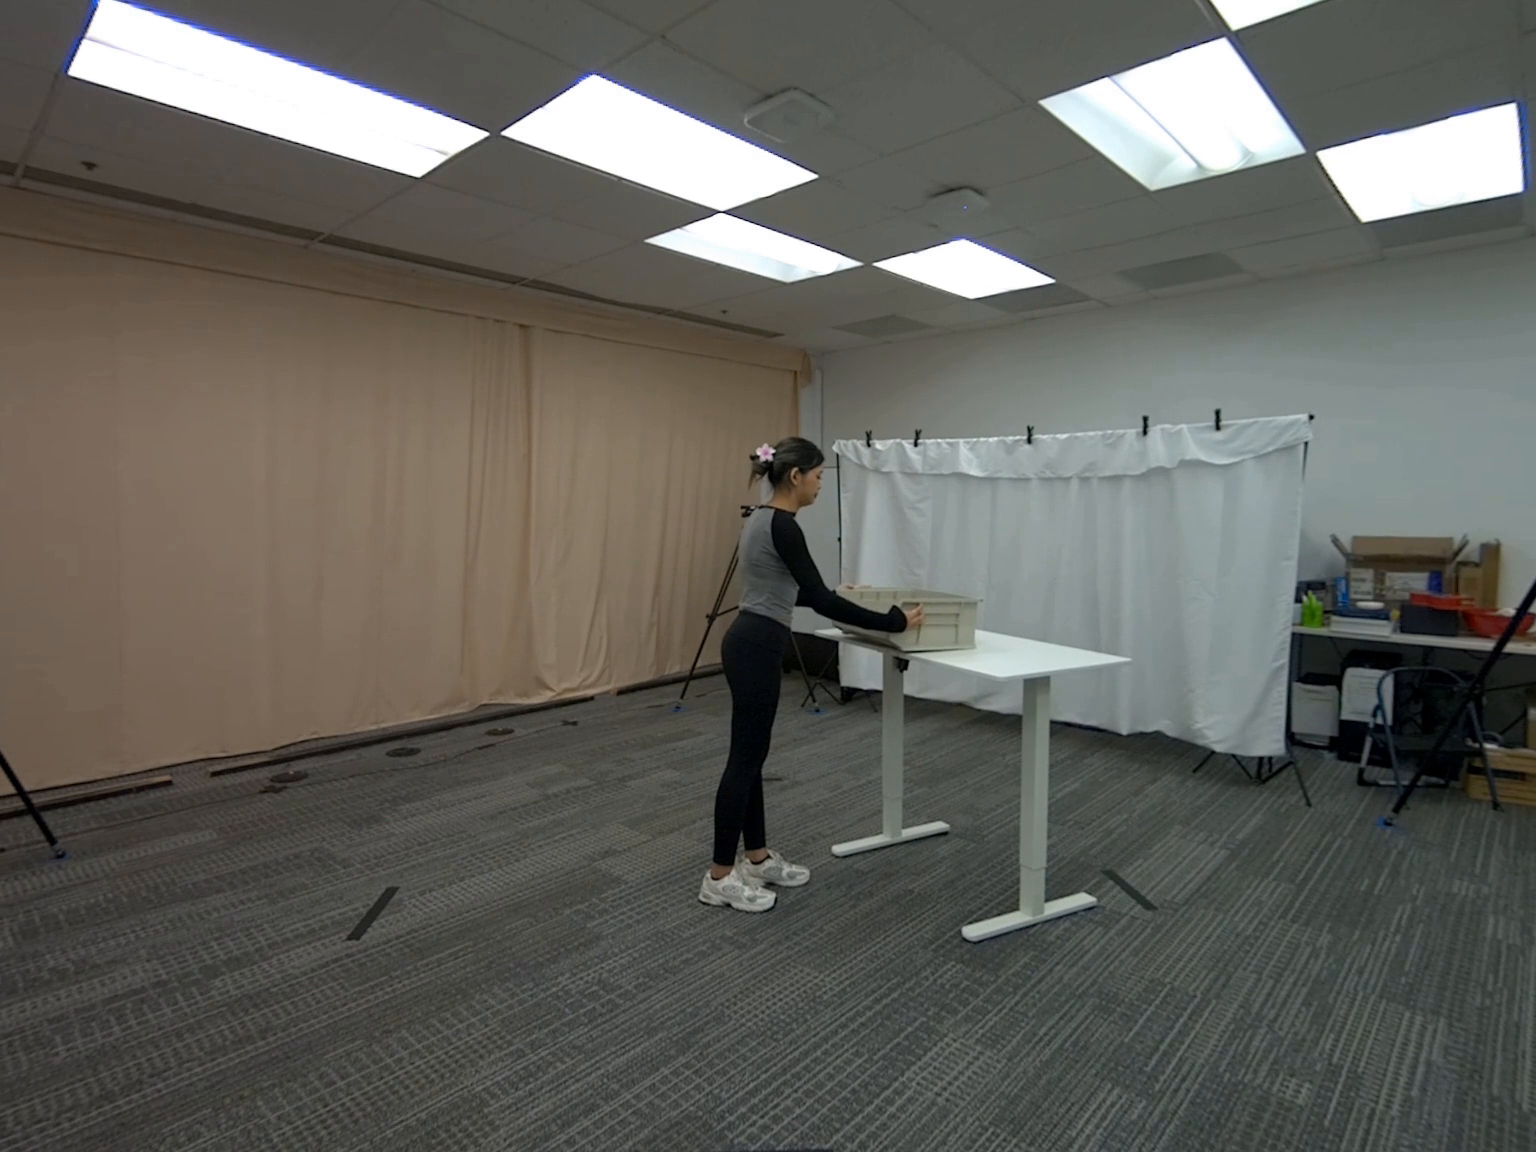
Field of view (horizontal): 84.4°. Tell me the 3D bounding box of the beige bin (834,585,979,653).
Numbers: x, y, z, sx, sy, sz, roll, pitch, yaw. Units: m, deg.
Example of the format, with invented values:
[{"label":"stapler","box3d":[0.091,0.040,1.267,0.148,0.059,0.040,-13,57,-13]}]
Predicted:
[{"label":"beige bin","box3d":[0.510,0.156,3.118,0.369,0.189,0.433,2,4,-23]}]
